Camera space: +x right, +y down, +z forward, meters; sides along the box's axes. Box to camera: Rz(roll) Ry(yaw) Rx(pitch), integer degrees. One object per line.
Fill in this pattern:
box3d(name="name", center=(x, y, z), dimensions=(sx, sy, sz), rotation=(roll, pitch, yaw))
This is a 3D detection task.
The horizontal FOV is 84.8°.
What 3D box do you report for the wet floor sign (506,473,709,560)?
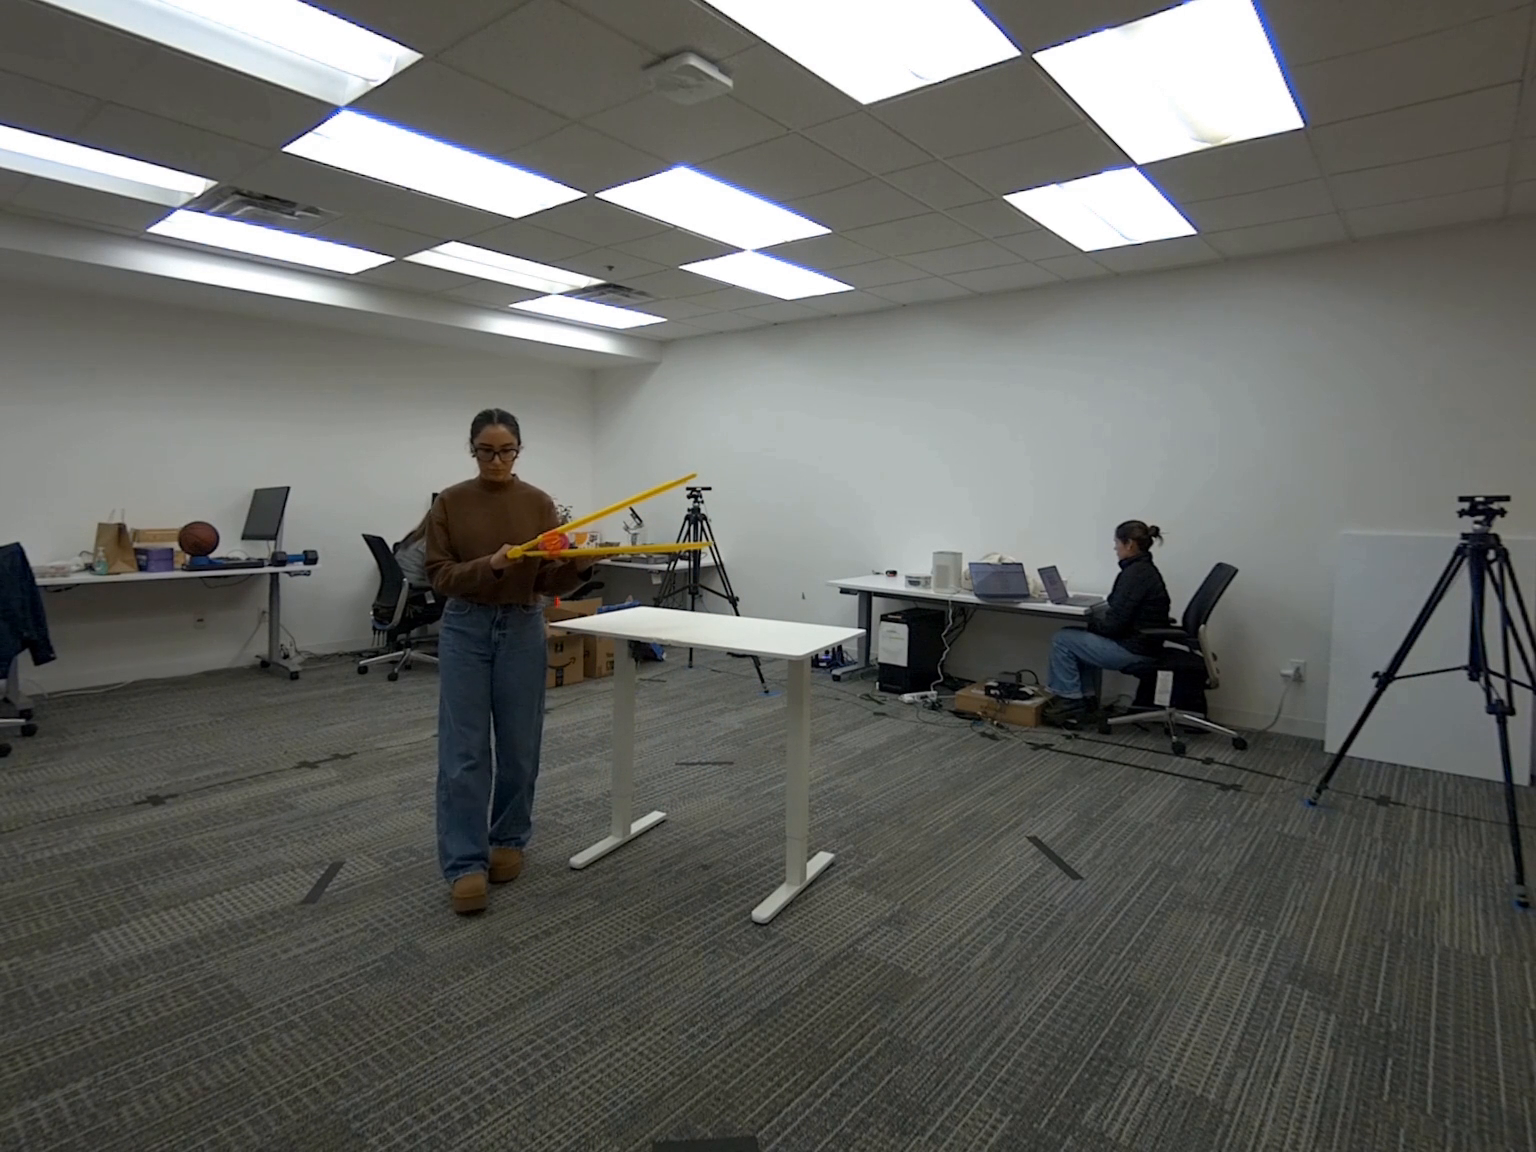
box3d(name="wet floor sign", center=(-0.554, -0.141, 2.811), dimensions=(0.638, 0.290, 0.285), rotation=(-12, 0, -14))
